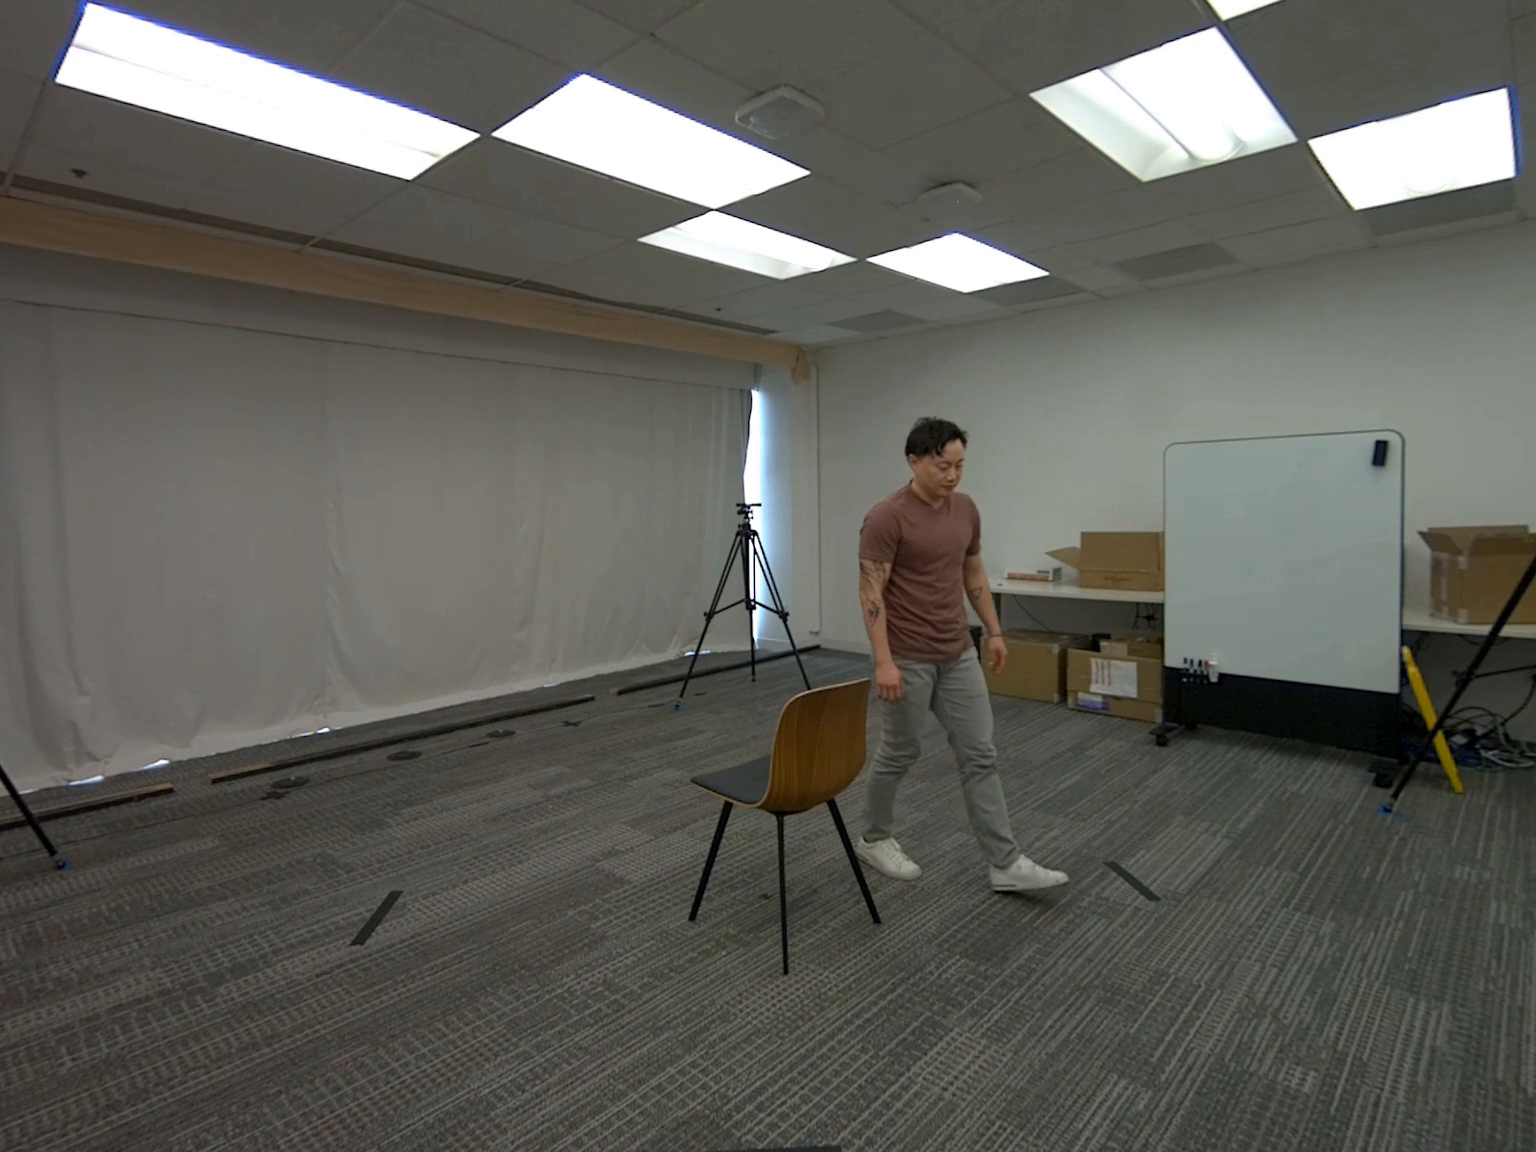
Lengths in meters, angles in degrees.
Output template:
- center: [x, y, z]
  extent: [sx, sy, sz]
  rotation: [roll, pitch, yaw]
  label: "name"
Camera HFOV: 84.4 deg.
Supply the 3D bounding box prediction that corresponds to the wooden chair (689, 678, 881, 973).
- center: [0.043, 0.725, 2.774]
  extent: [0.464, 0.873, 0.541]
  rotation: [-5, 10, -43]
  label: "wooden chair"
